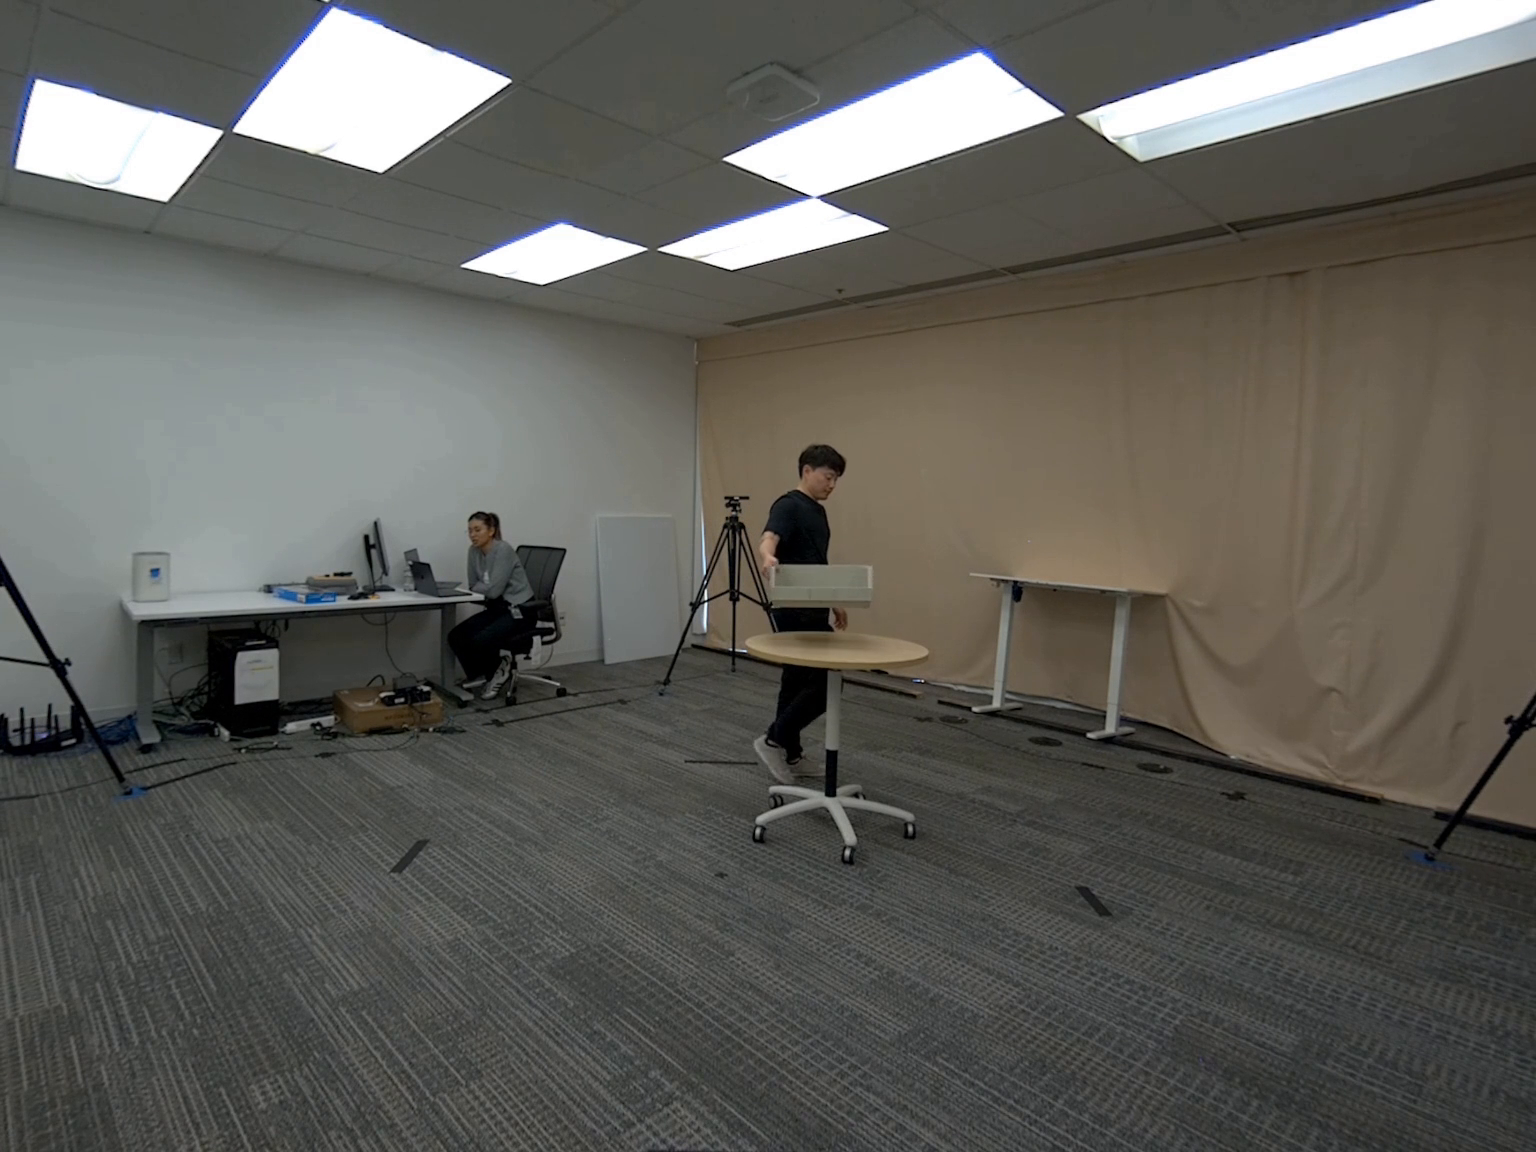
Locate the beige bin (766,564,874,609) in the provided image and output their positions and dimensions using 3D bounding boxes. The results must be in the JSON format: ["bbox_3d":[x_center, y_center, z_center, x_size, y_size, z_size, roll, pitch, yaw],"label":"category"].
[{"bbox_3d":[0.228,0.051,3.611,0.425,0.189,0.374,1,-1,6],"label":"beige bin"}]
